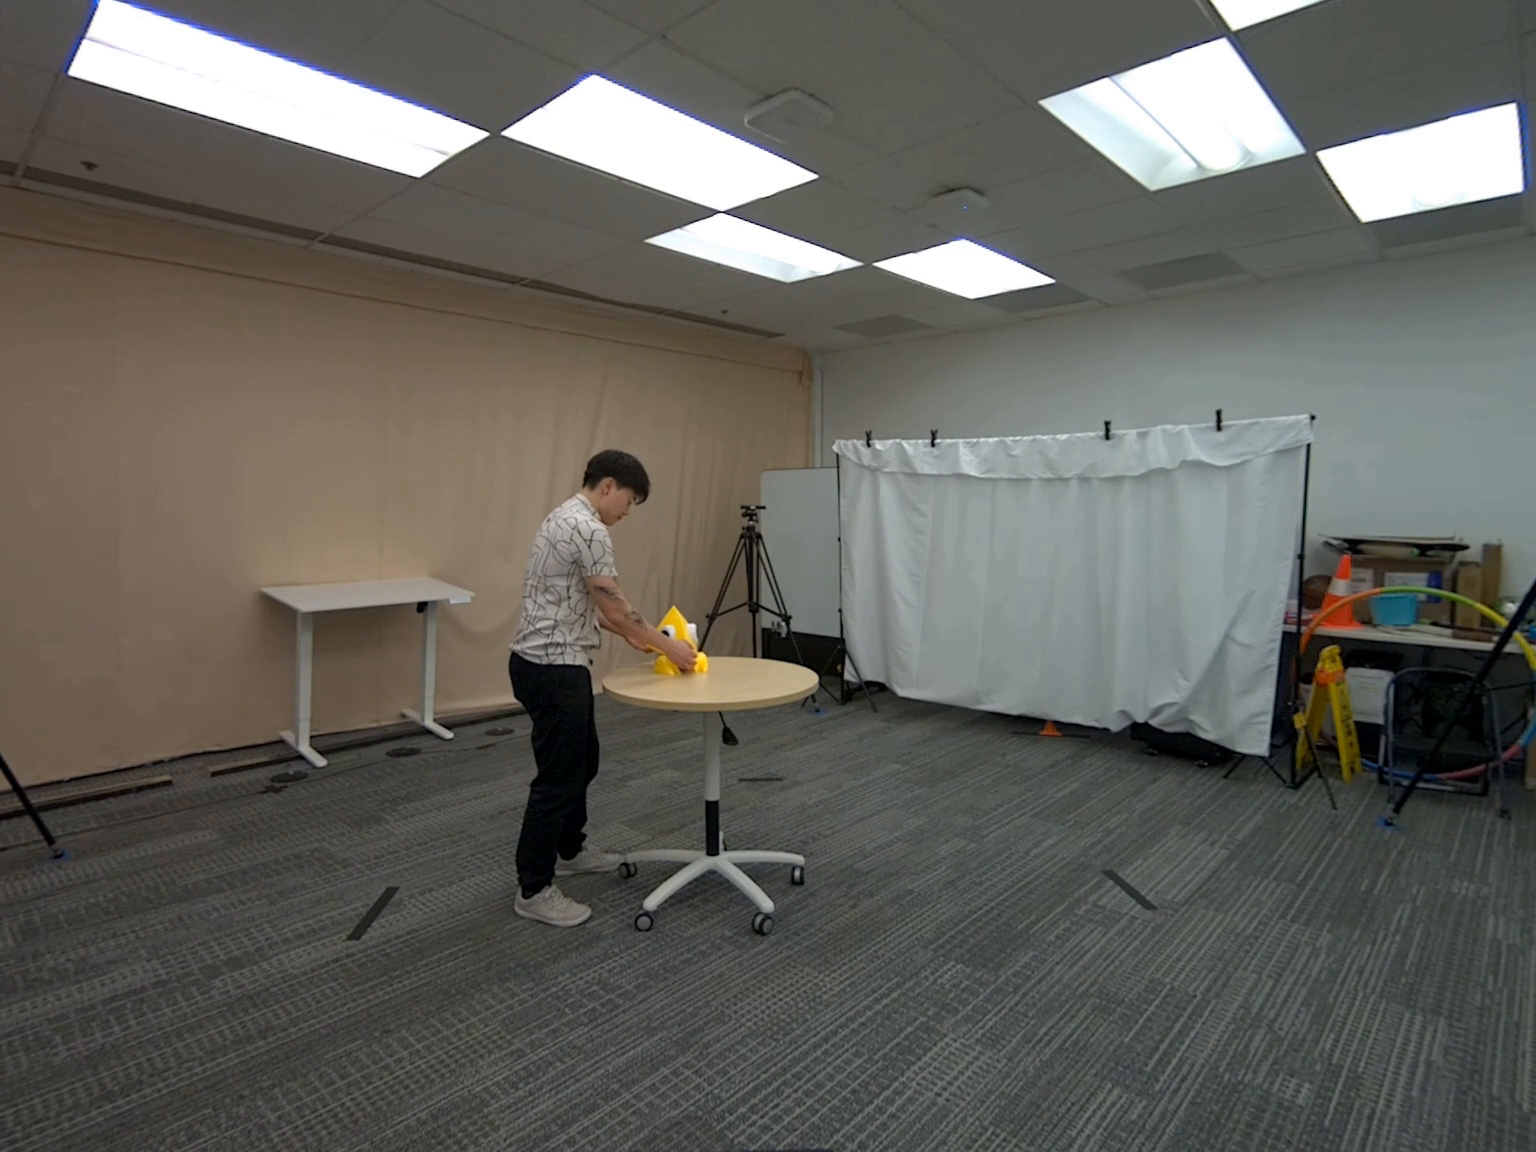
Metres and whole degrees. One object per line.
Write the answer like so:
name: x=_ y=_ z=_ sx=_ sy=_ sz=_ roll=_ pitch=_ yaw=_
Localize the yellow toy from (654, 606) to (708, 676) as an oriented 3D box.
yellow toy: x=-0.326 y=0.235 z=3.137 sx=0.200 sy=0.230 sz=0.198 roll=-2 pitch=5 yaw=-26
